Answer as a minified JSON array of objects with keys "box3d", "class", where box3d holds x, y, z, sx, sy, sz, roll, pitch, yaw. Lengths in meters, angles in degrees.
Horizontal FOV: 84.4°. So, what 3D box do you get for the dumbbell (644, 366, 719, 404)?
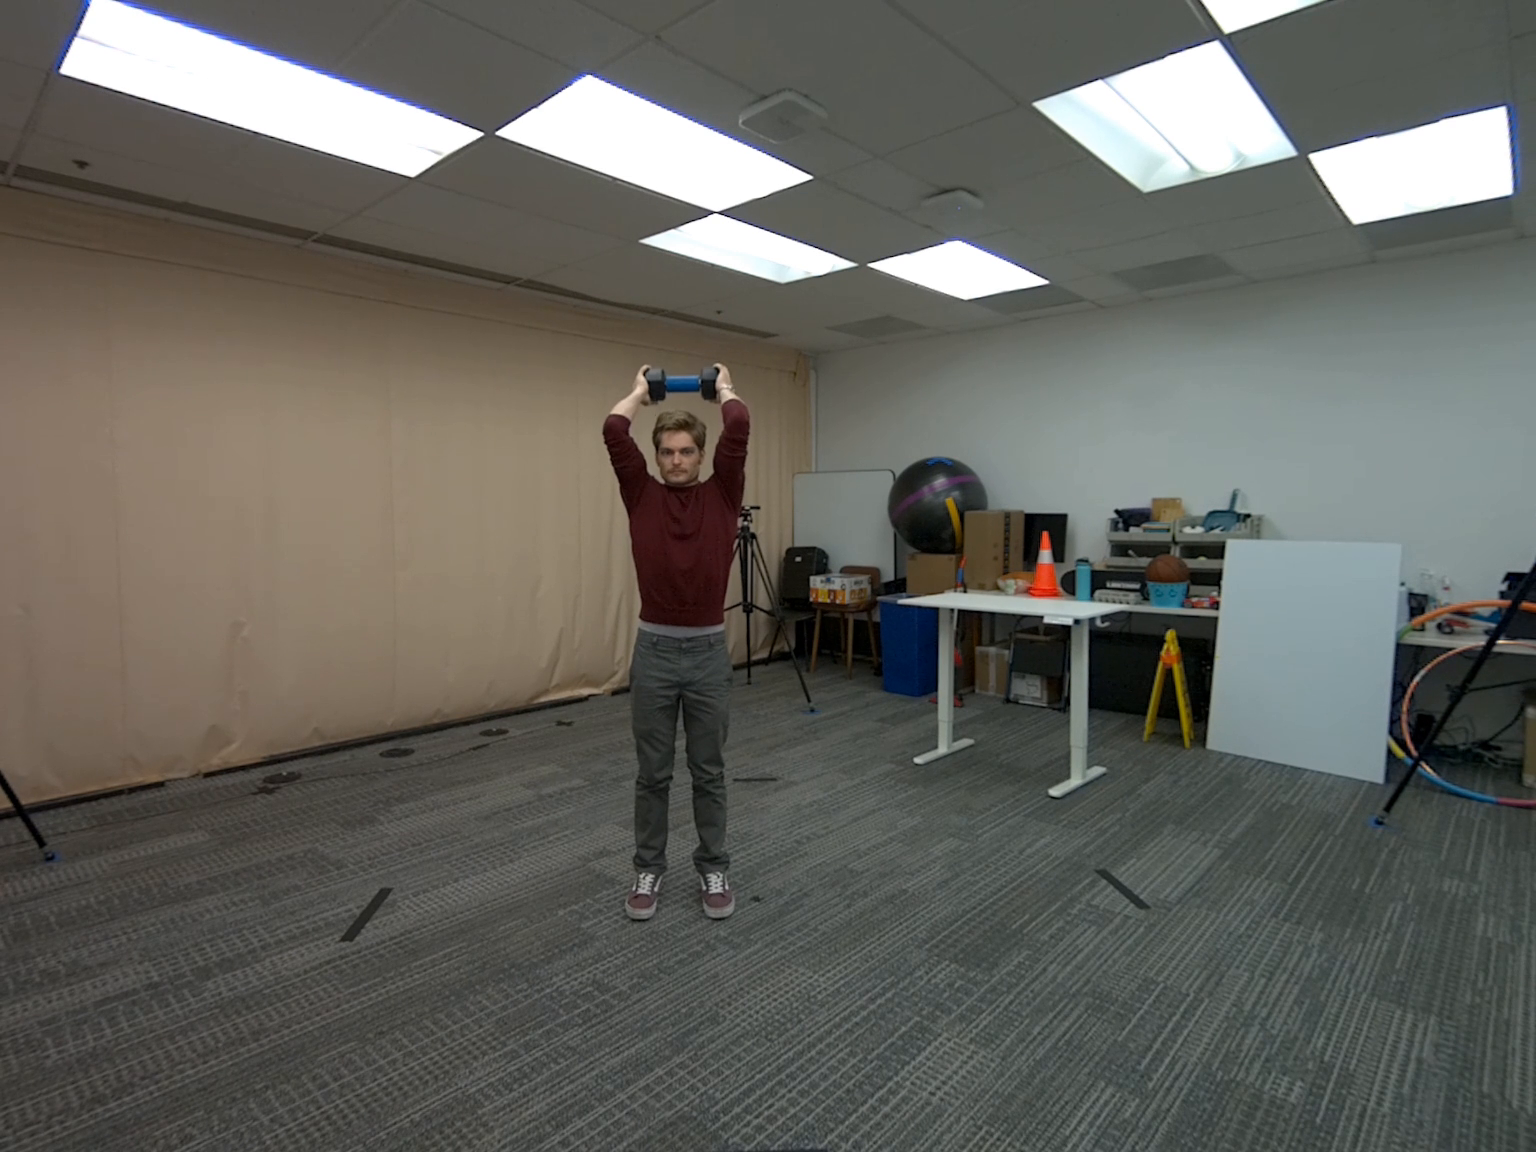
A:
[{"box3d":[-0.320,-0.703,3.074,0.294,0.121,0.110,0,33,2],"class":"dumbbell"}]
